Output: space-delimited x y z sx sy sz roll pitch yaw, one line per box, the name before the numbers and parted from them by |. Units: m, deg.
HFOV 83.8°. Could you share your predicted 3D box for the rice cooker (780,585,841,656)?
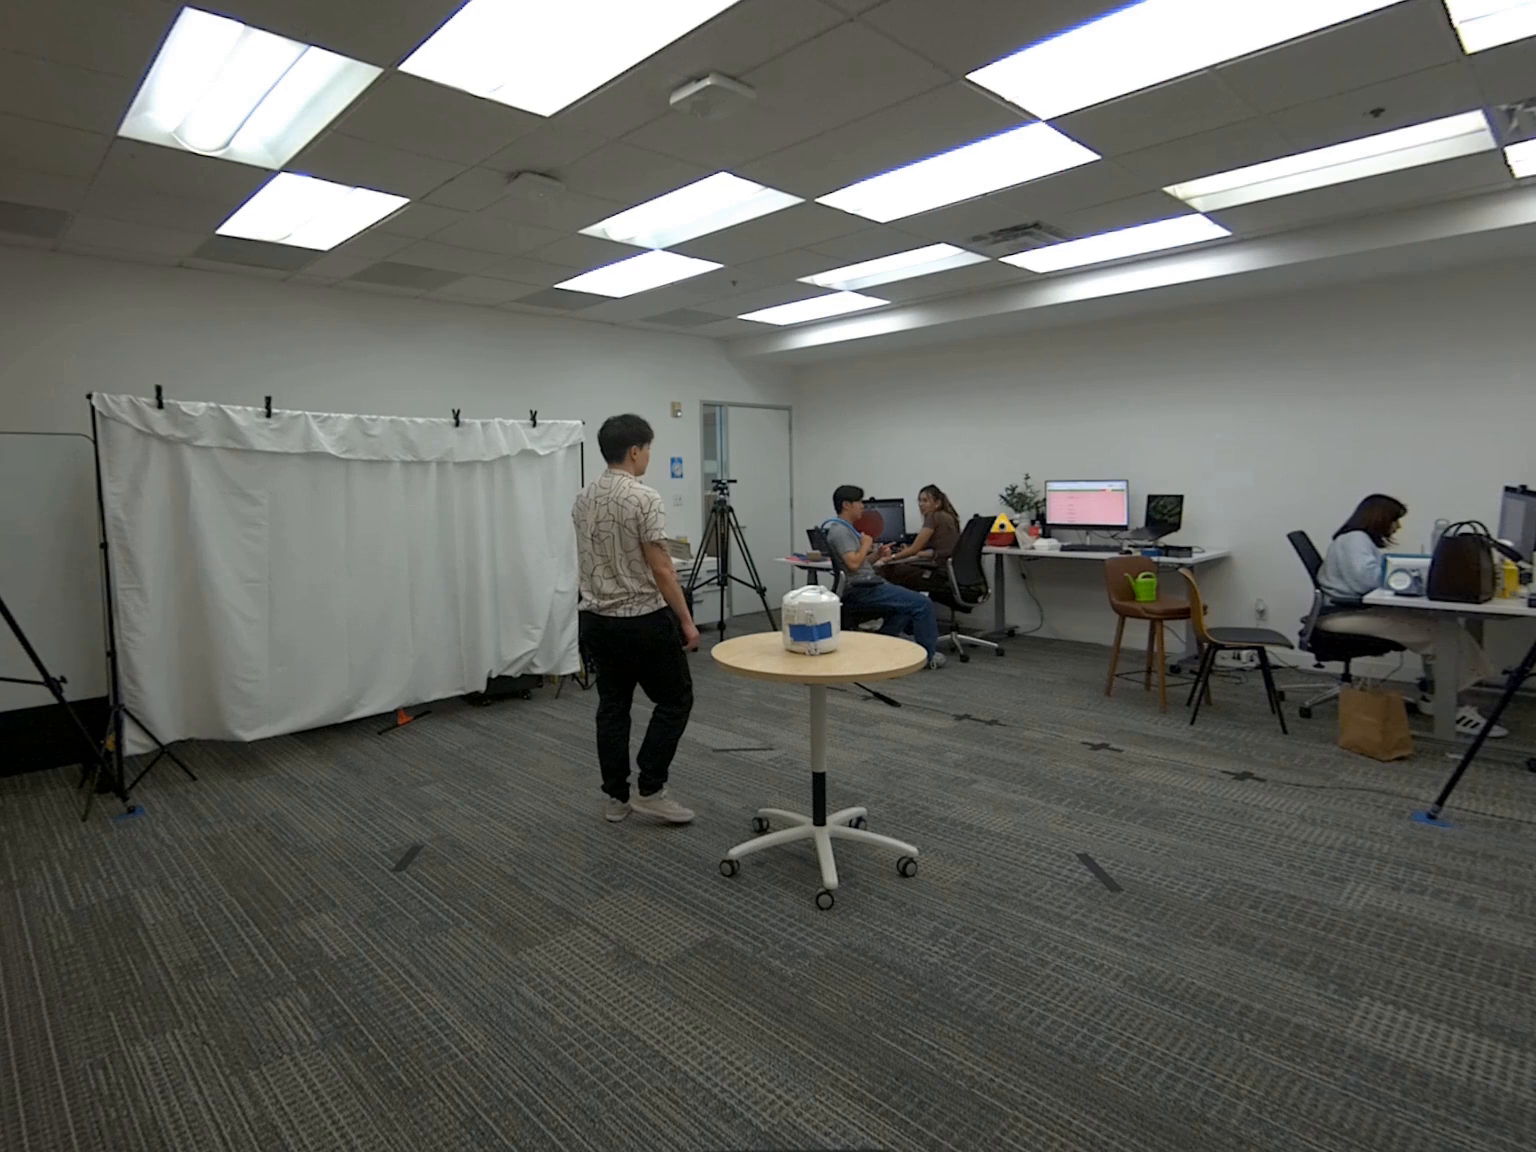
rice cooker | 0.154 0.150 3.065 0.215 0.231 0.224 -6 9 -41
